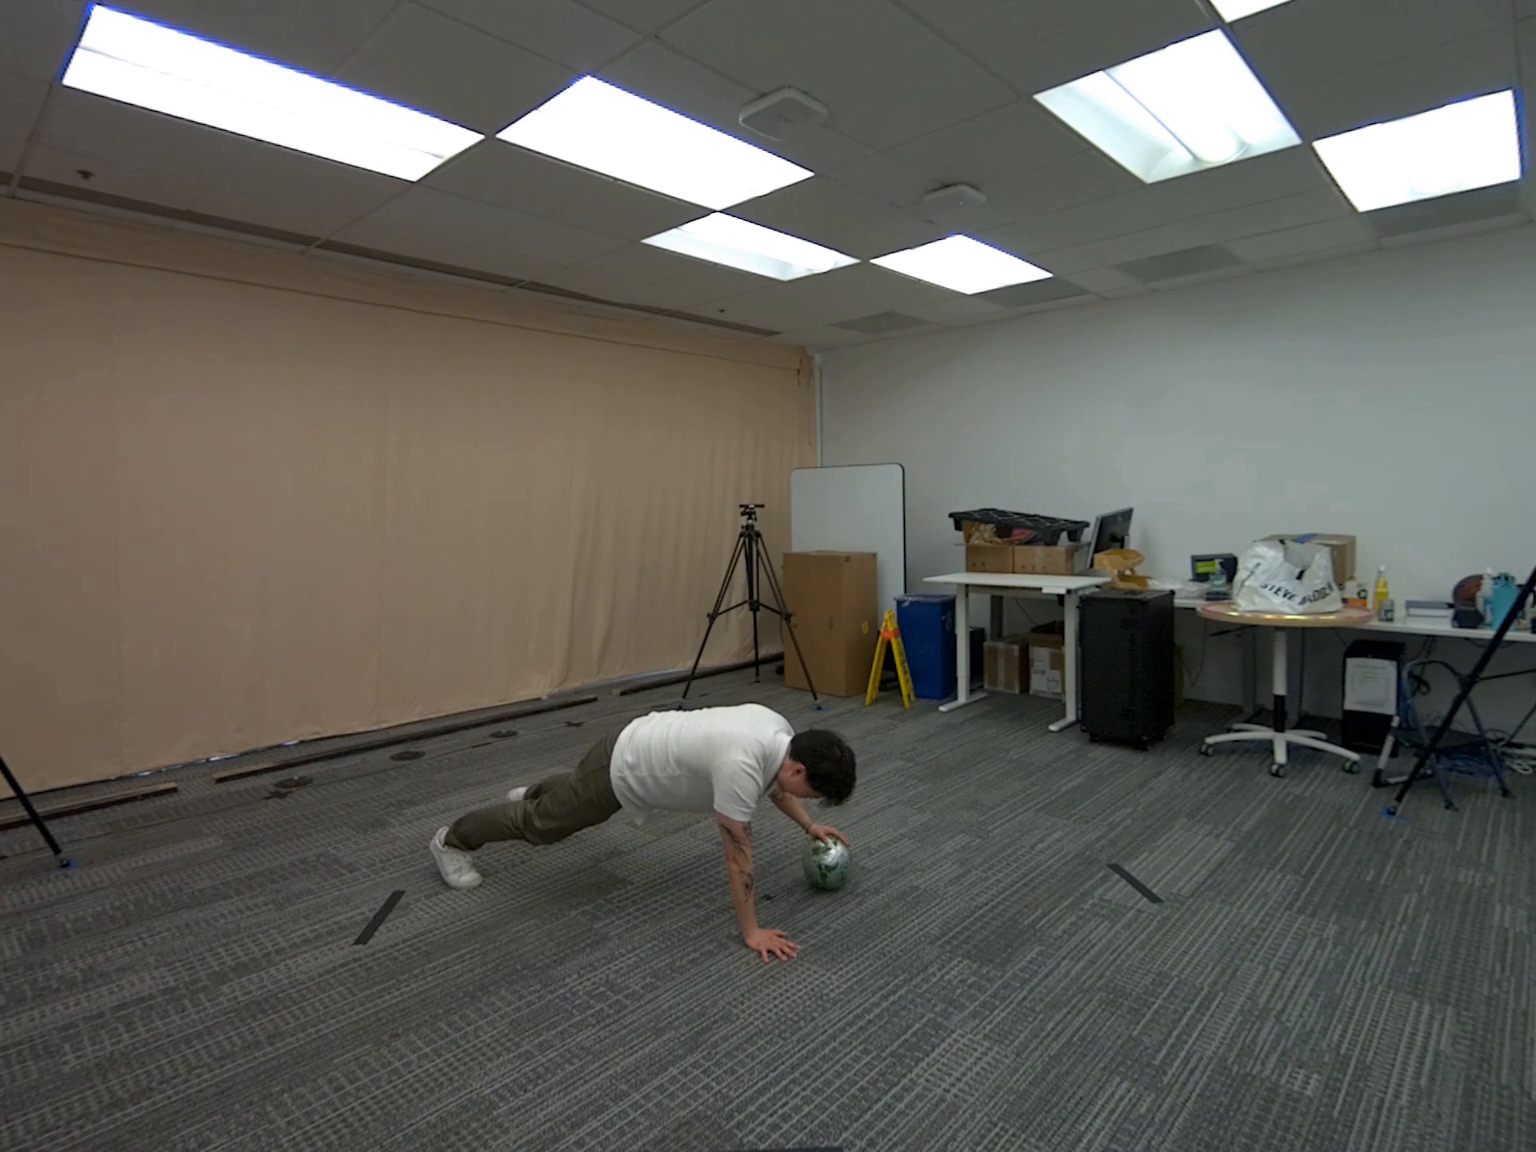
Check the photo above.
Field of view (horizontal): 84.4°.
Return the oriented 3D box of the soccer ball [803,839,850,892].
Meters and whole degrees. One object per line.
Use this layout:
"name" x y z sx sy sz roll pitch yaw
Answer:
"soccer ball" 0.215 1.036 3.044 0.187 0.187 0.188 -1 4 -2
